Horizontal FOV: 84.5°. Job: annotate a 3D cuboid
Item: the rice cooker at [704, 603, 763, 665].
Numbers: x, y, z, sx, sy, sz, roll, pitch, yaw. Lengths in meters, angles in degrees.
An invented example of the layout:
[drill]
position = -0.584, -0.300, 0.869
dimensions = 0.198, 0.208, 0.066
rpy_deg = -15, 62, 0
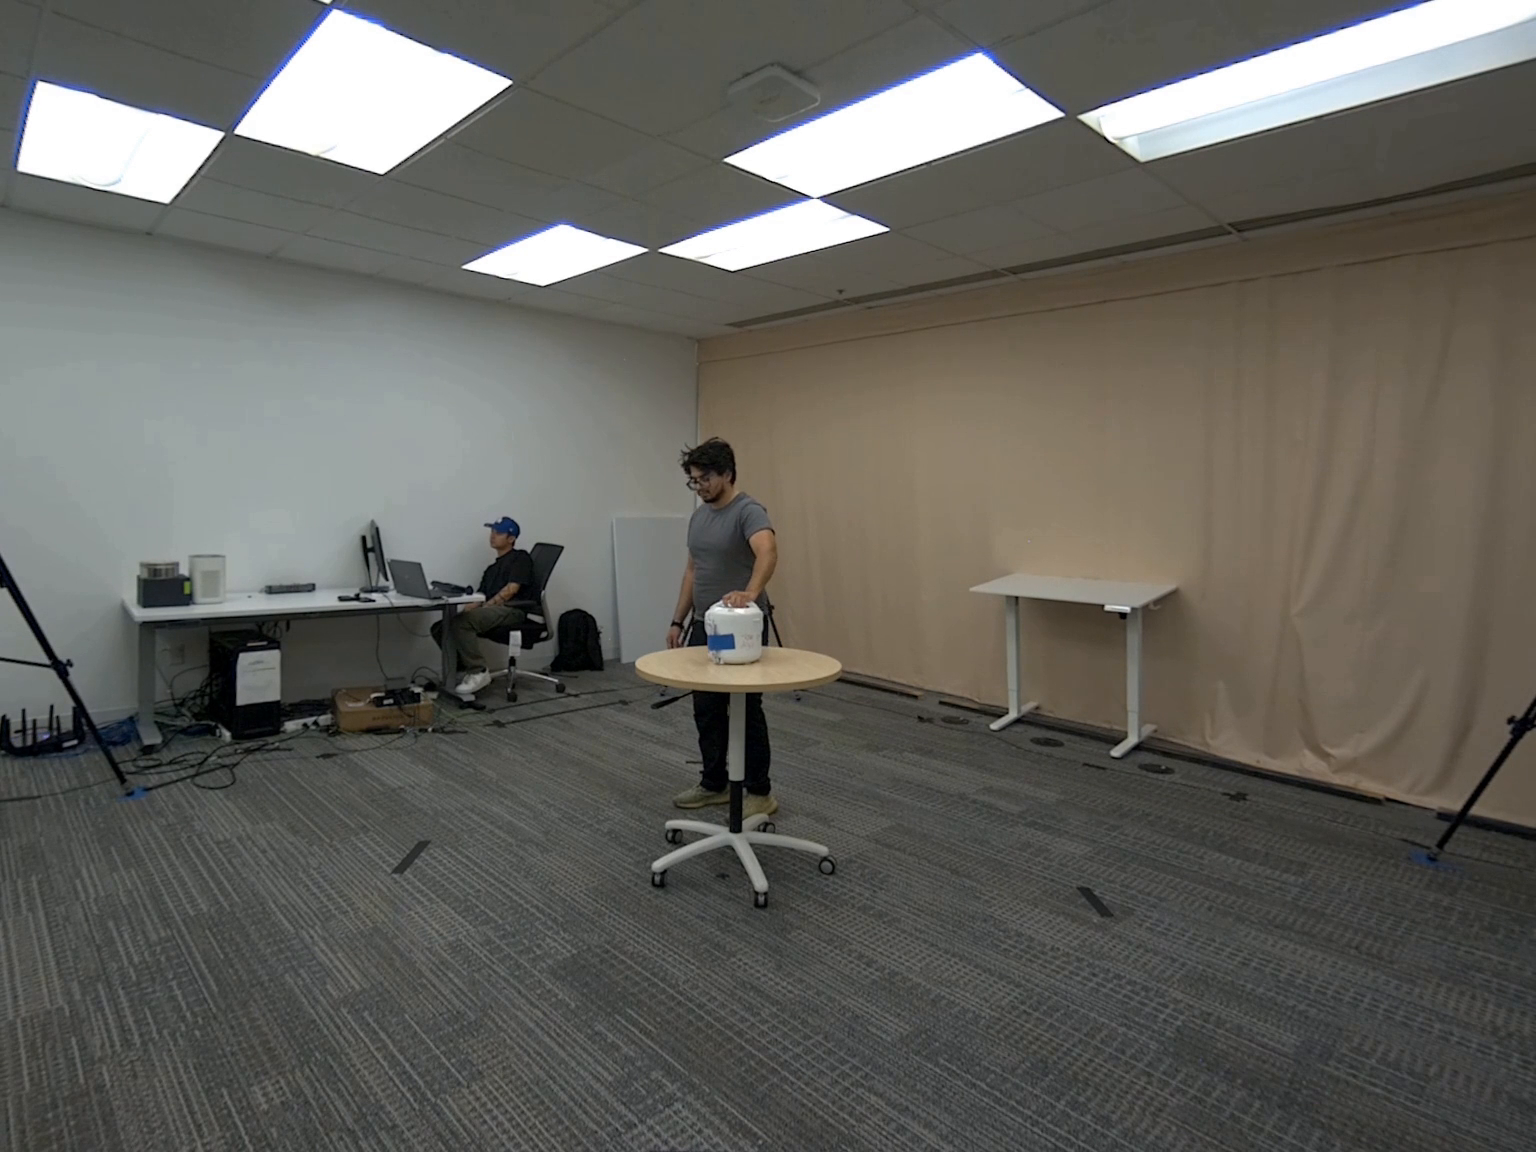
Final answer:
[rice cooker]
position = -0.139, 0.206, 3.175
dimensions = 0.220, 0.232, 0.219
rpy_deg = 2, 4, -4
